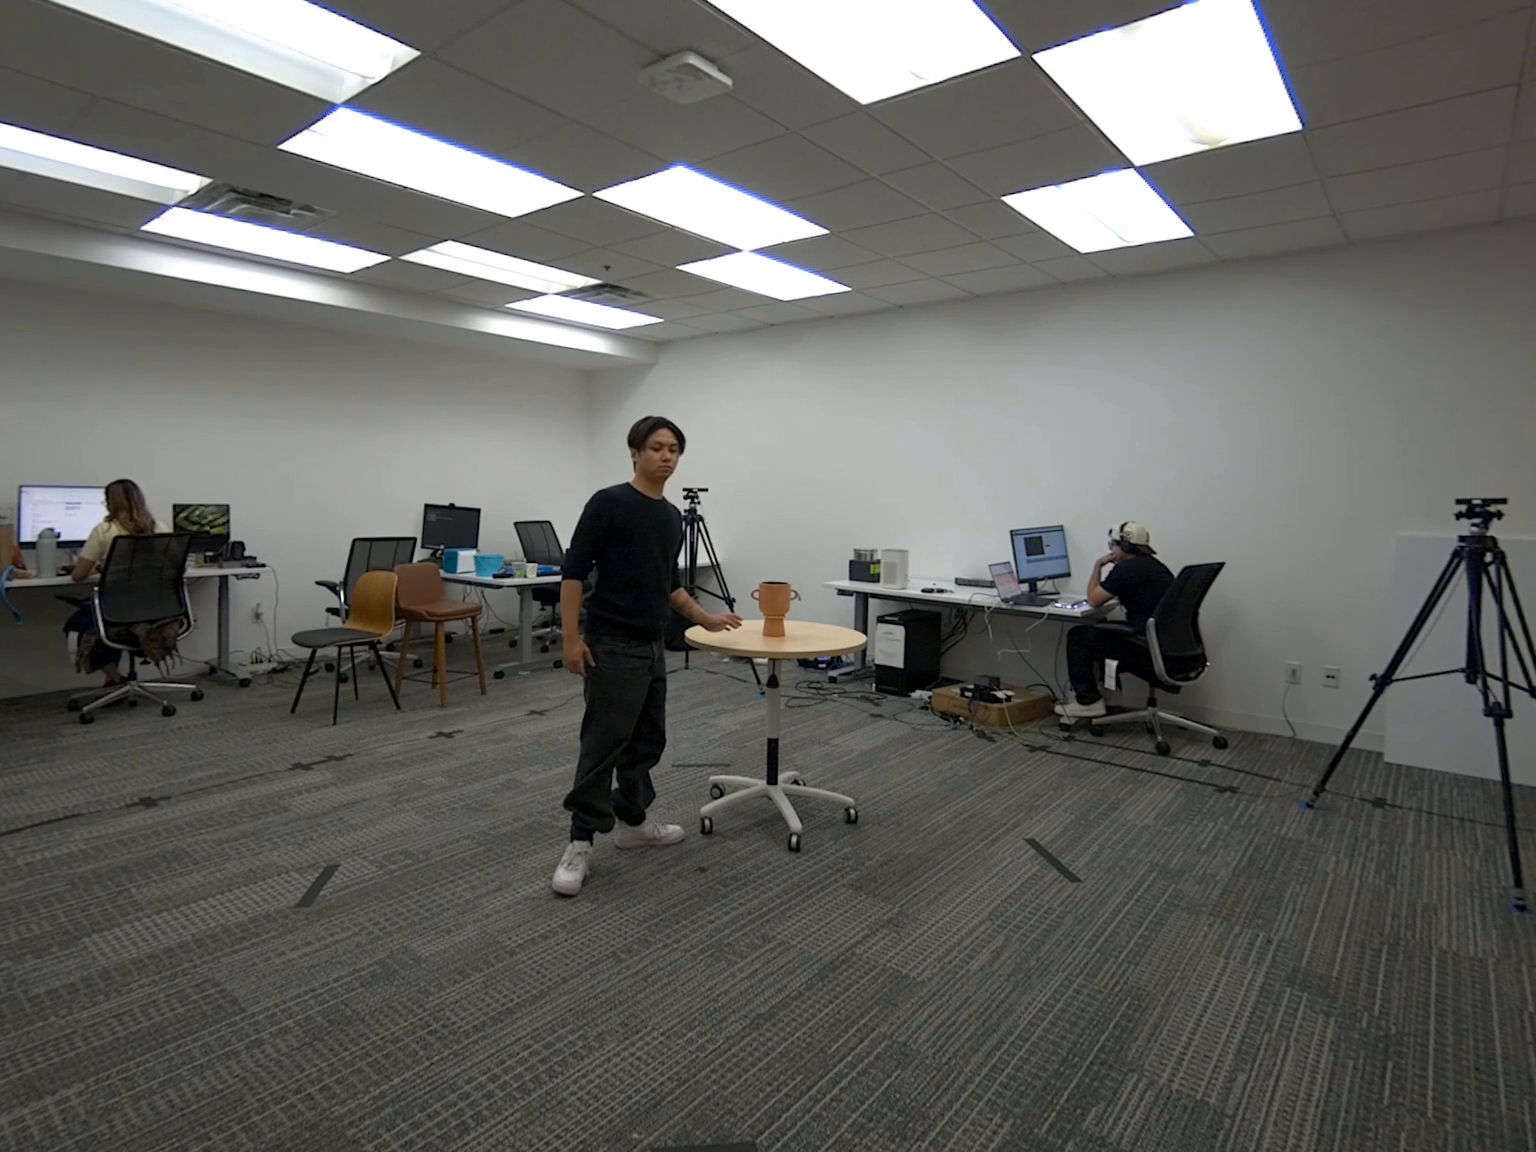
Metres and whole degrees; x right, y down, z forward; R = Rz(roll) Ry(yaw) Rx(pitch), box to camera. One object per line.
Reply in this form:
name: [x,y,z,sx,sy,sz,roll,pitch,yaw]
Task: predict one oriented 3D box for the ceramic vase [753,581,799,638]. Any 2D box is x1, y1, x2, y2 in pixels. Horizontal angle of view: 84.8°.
ceramic vase: [0.019,0.137,3.575,0.164,0.219,0.131,4,5,33]
